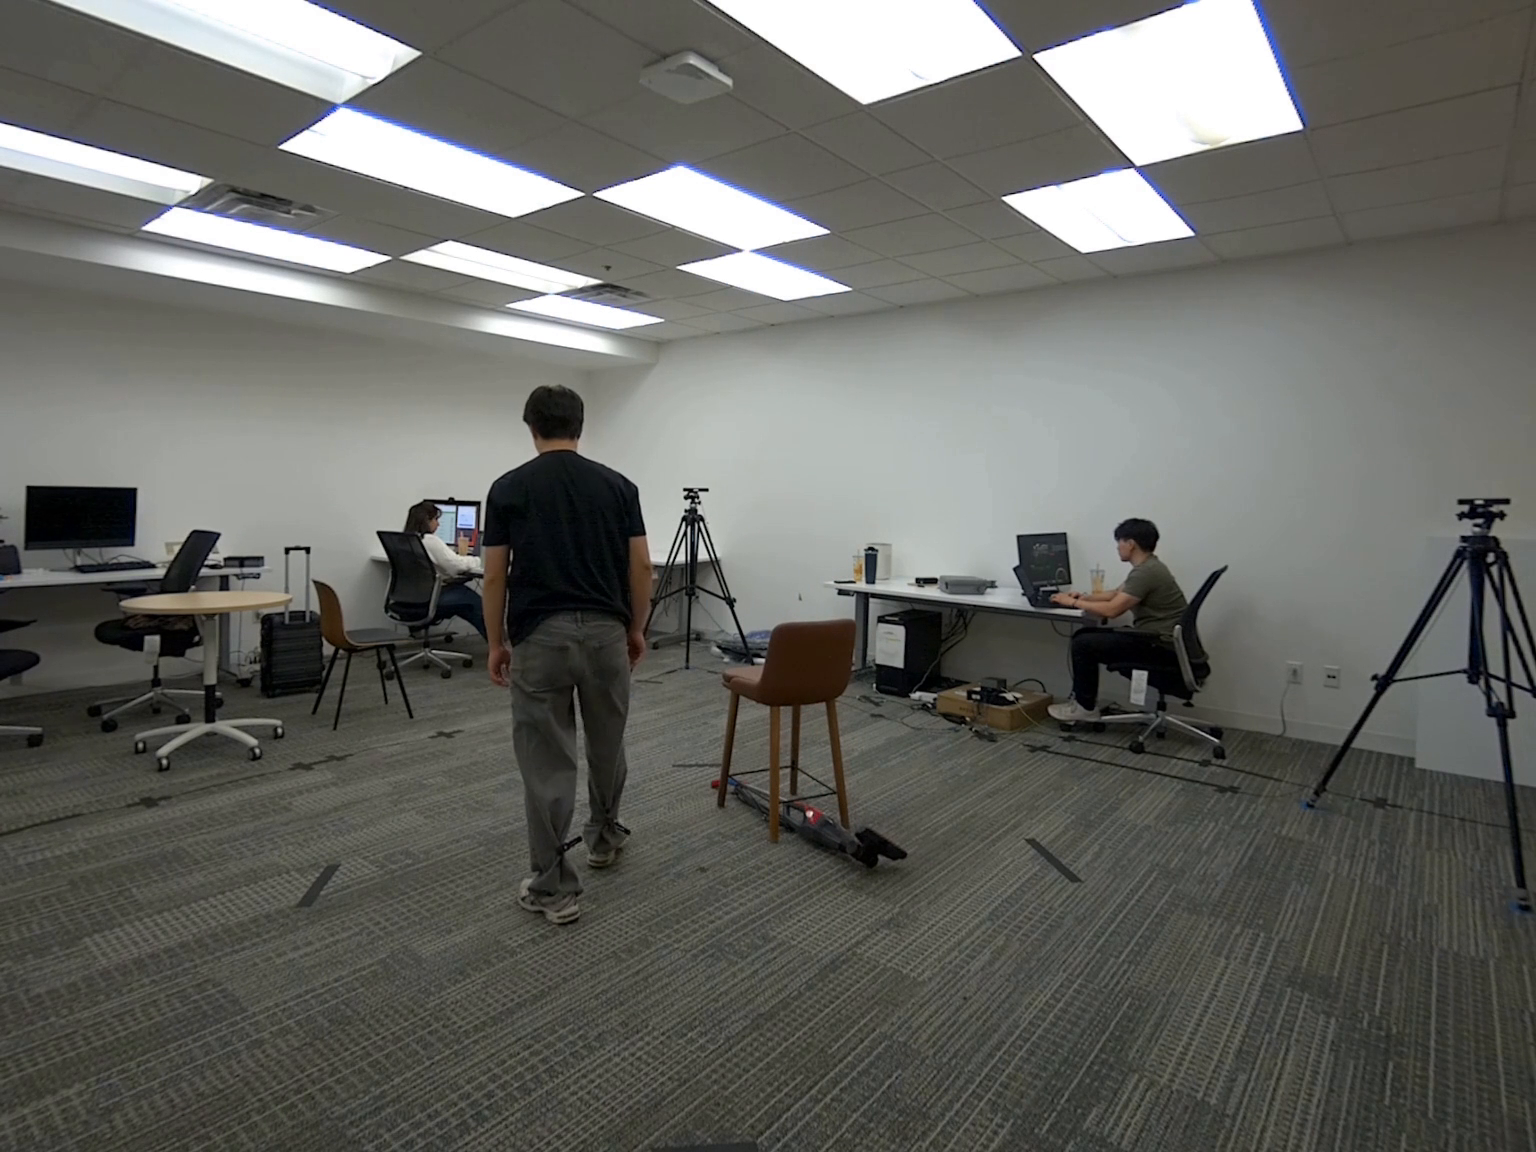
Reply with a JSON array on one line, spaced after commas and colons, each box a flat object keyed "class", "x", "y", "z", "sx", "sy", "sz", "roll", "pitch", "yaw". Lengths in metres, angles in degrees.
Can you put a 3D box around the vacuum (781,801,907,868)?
[{"class": "vacuum", "x": 0.064, "y": 0.989, "z": 3.543, "sx": 0.244, "sy": 0.145, "sz": 1.080, "roll": 40, "pitch": -22, "yaw": -29}]
